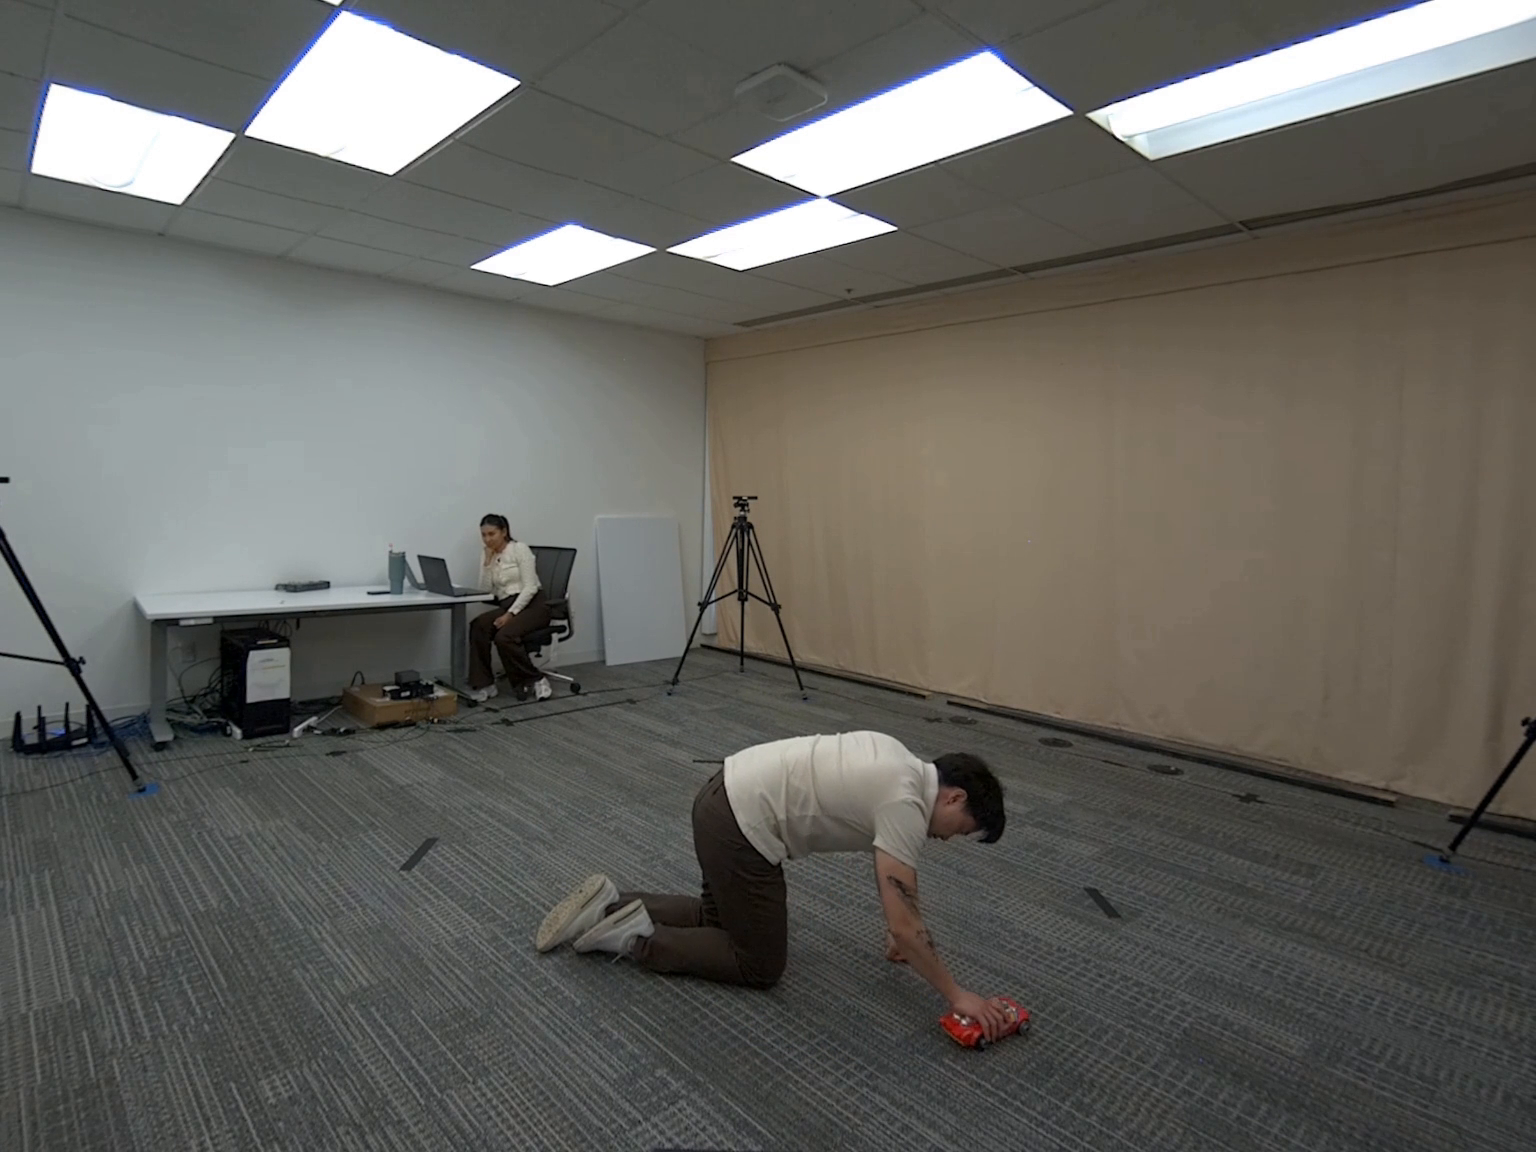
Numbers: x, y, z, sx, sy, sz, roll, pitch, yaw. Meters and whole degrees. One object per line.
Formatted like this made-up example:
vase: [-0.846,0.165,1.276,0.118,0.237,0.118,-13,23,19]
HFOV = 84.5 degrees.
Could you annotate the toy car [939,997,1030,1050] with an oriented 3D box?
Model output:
toy car: [0.560,1.173,2.211,0.249,0.083,0.133,9,1,-27]
